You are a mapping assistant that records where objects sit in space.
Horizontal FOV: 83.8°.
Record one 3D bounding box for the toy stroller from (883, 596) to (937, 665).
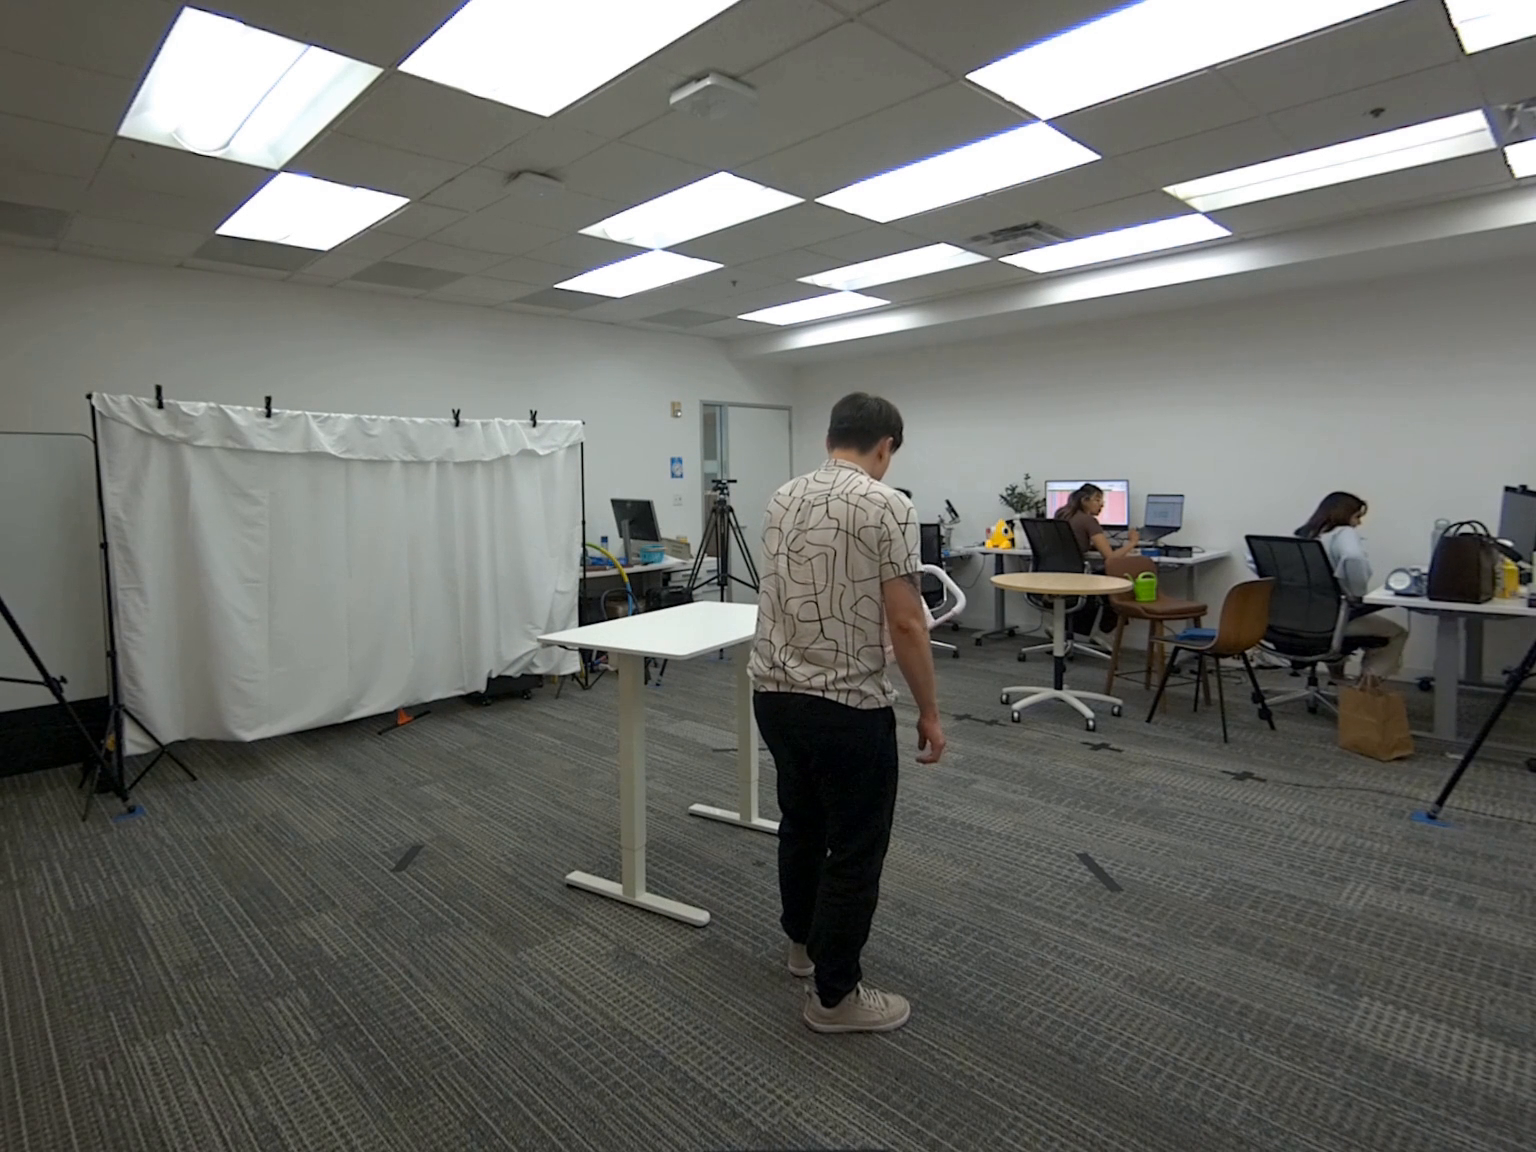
[{"bbox_3d":[0.328,0.193,2.669,0.330,0.532,0.292,13,32,-41],"label":"toy stroller"}]
